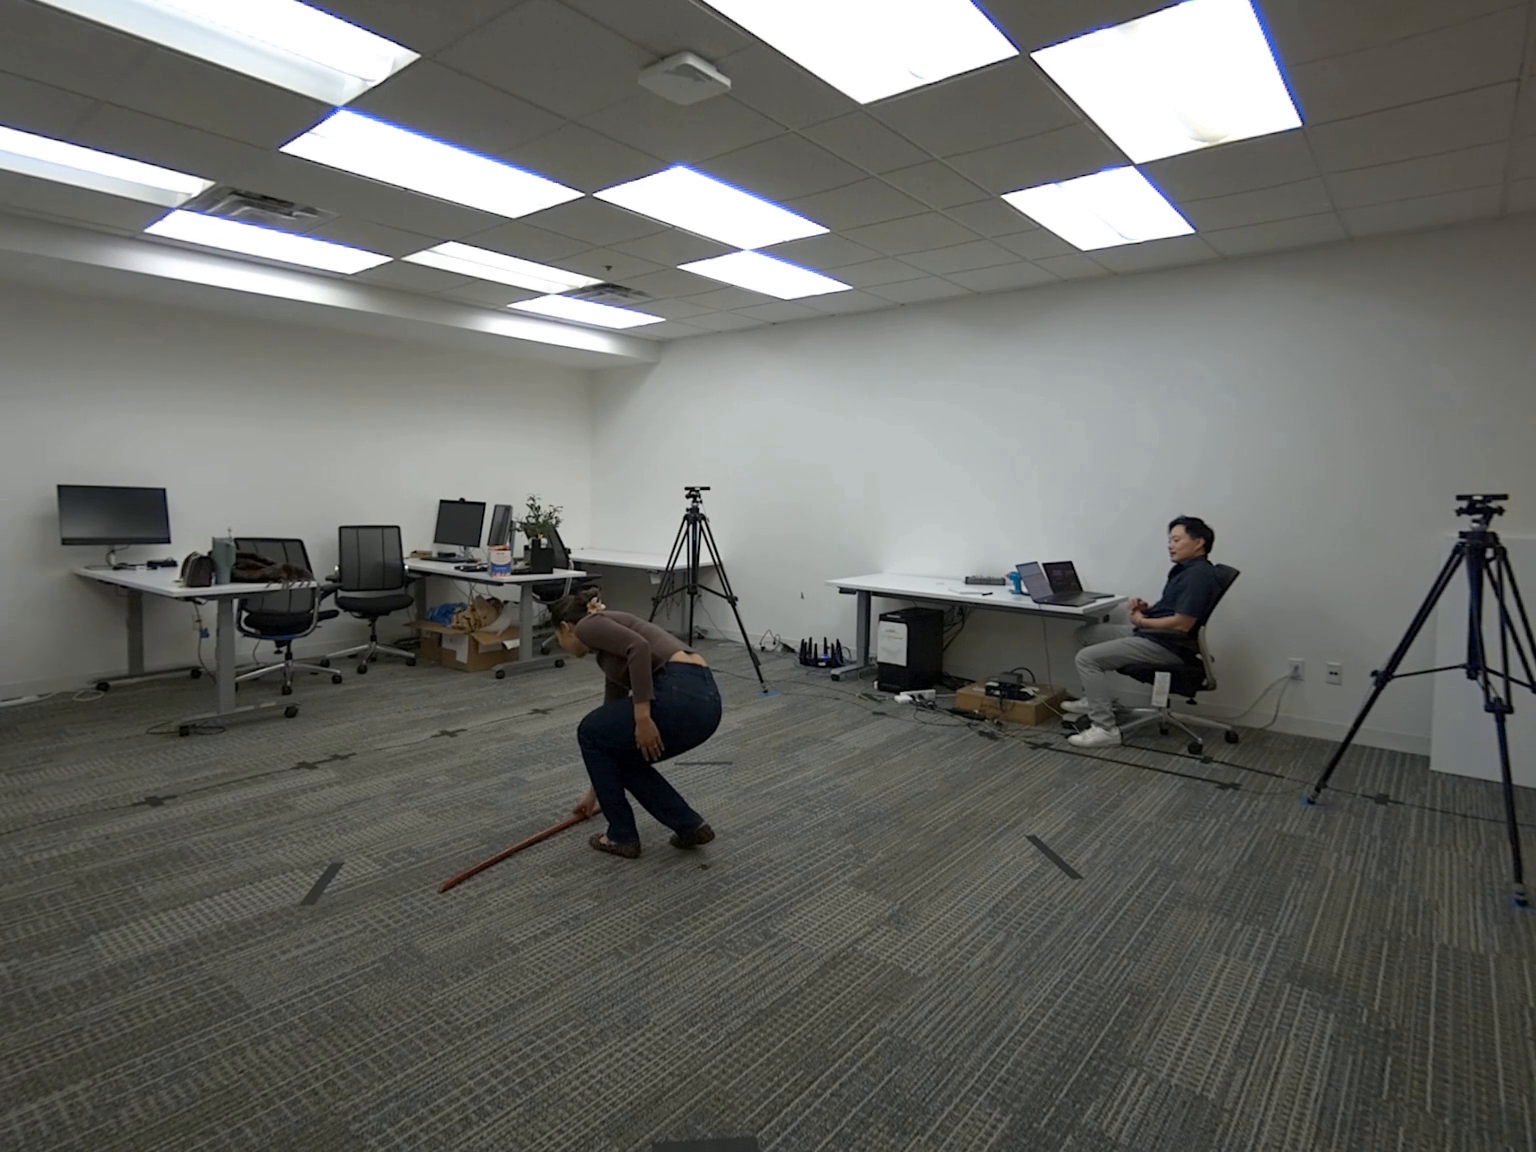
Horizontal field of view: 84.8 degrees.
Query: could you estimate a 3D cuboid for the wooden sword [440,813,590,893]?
[{"bbox_3d":[-0.893,1.008,3.337,0.052,0.024,1.001,-12,0,29],"label":"wooden sword"}]
